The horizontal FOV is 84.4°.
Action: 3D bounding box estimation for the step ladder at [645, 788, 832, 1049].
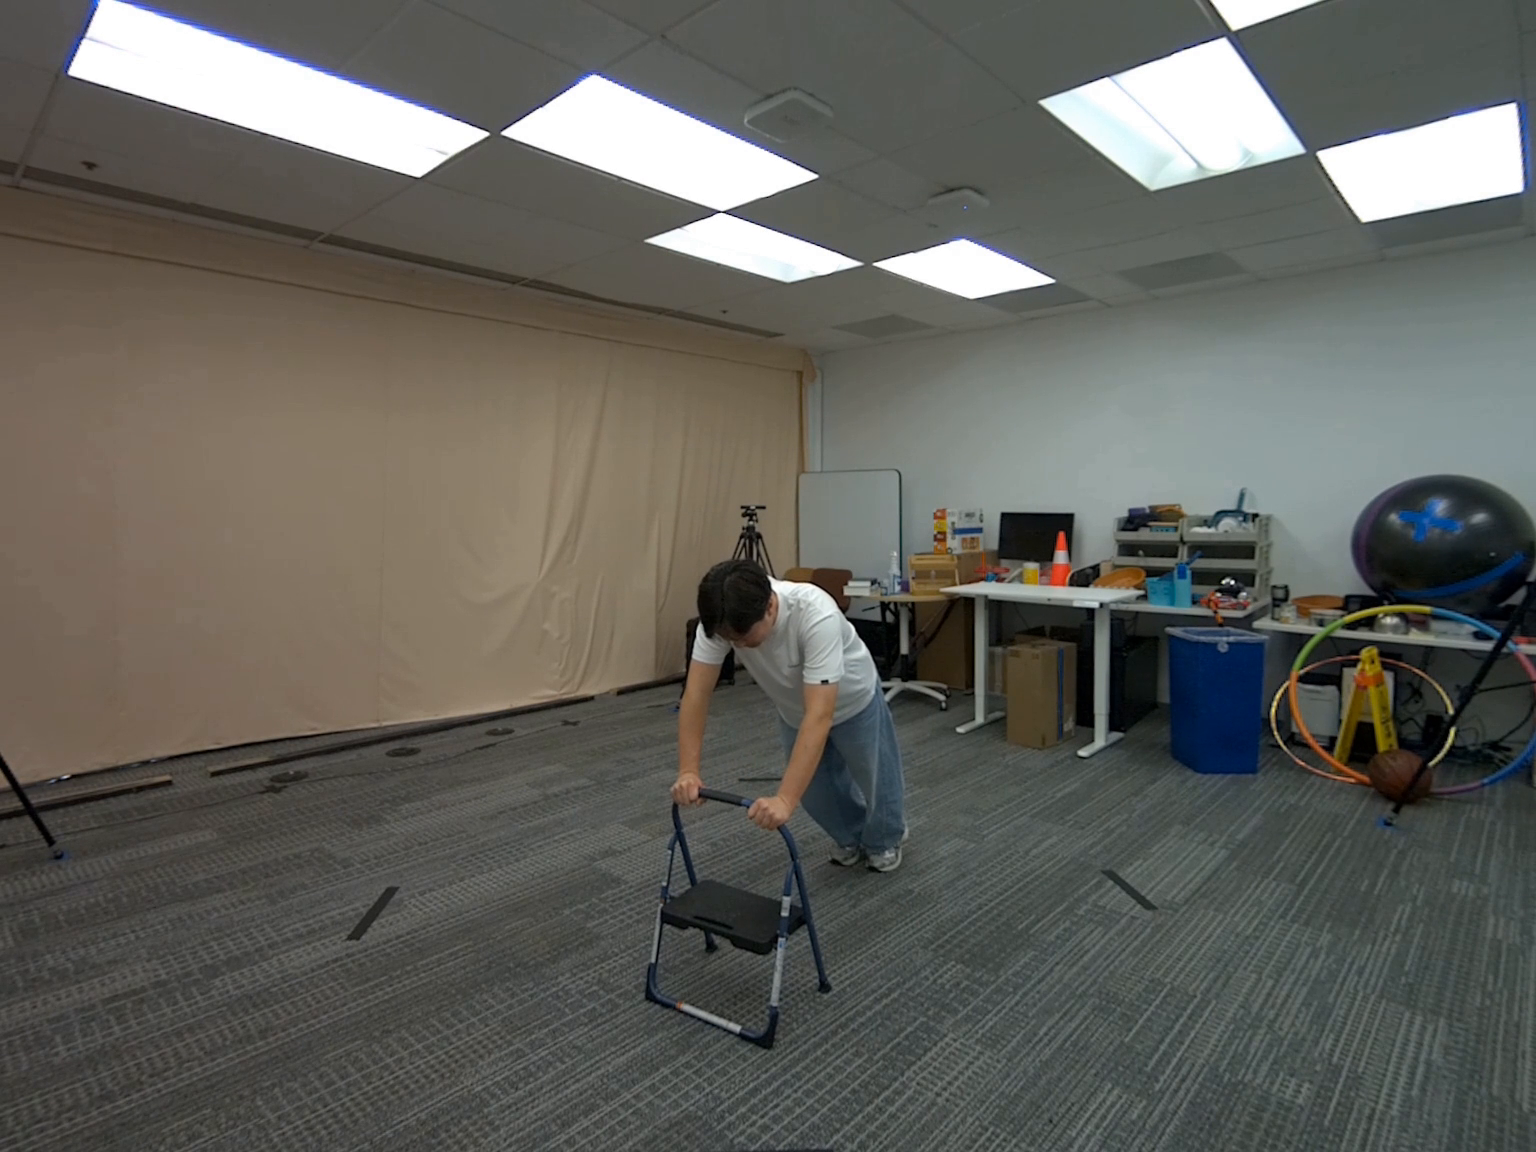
[{"bbox_3d":[-0.088,0.892,2.385,0.443,0.605,0.340,2,4,31],"label":"step ladder"}]
